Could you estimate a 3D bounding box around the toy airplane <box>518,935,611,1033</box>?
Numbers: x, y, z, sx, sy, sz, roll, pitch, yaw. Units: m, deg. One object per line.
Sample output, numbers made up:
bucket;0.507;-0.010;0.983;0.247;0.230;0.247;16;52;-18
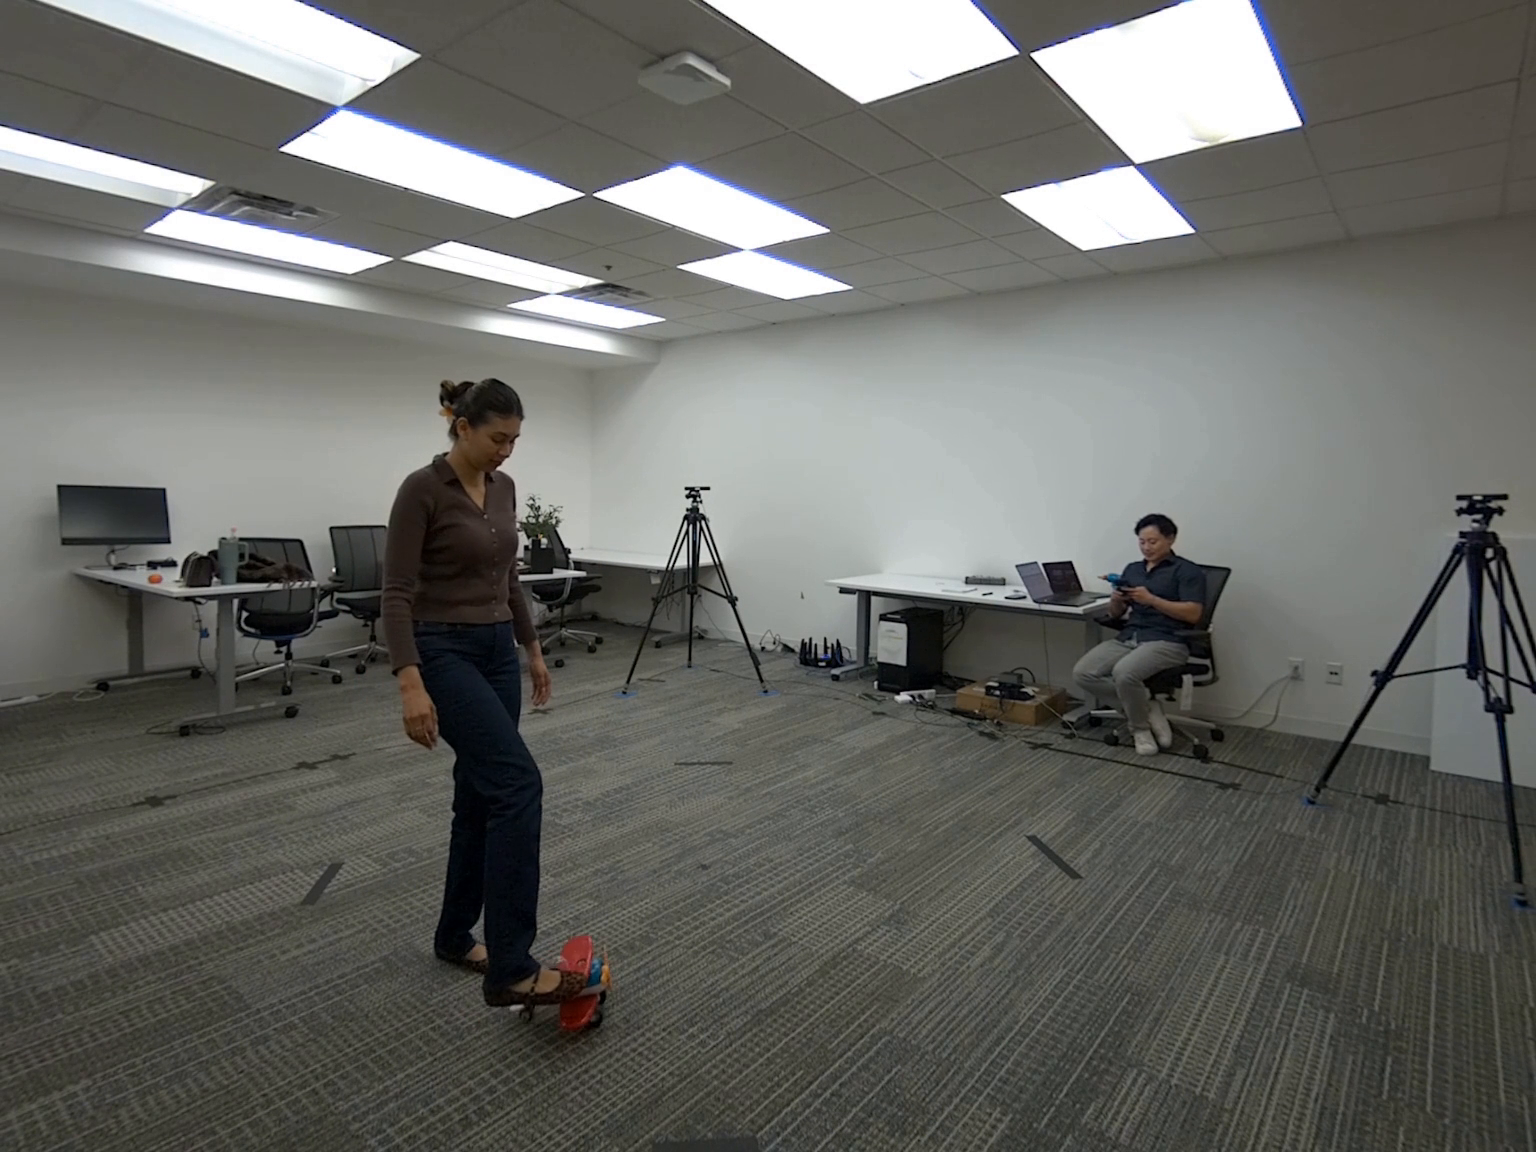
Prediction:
toy airplane;-0.539;1.080;2.203;0.253;0.155;0.260;-5;12;-29
